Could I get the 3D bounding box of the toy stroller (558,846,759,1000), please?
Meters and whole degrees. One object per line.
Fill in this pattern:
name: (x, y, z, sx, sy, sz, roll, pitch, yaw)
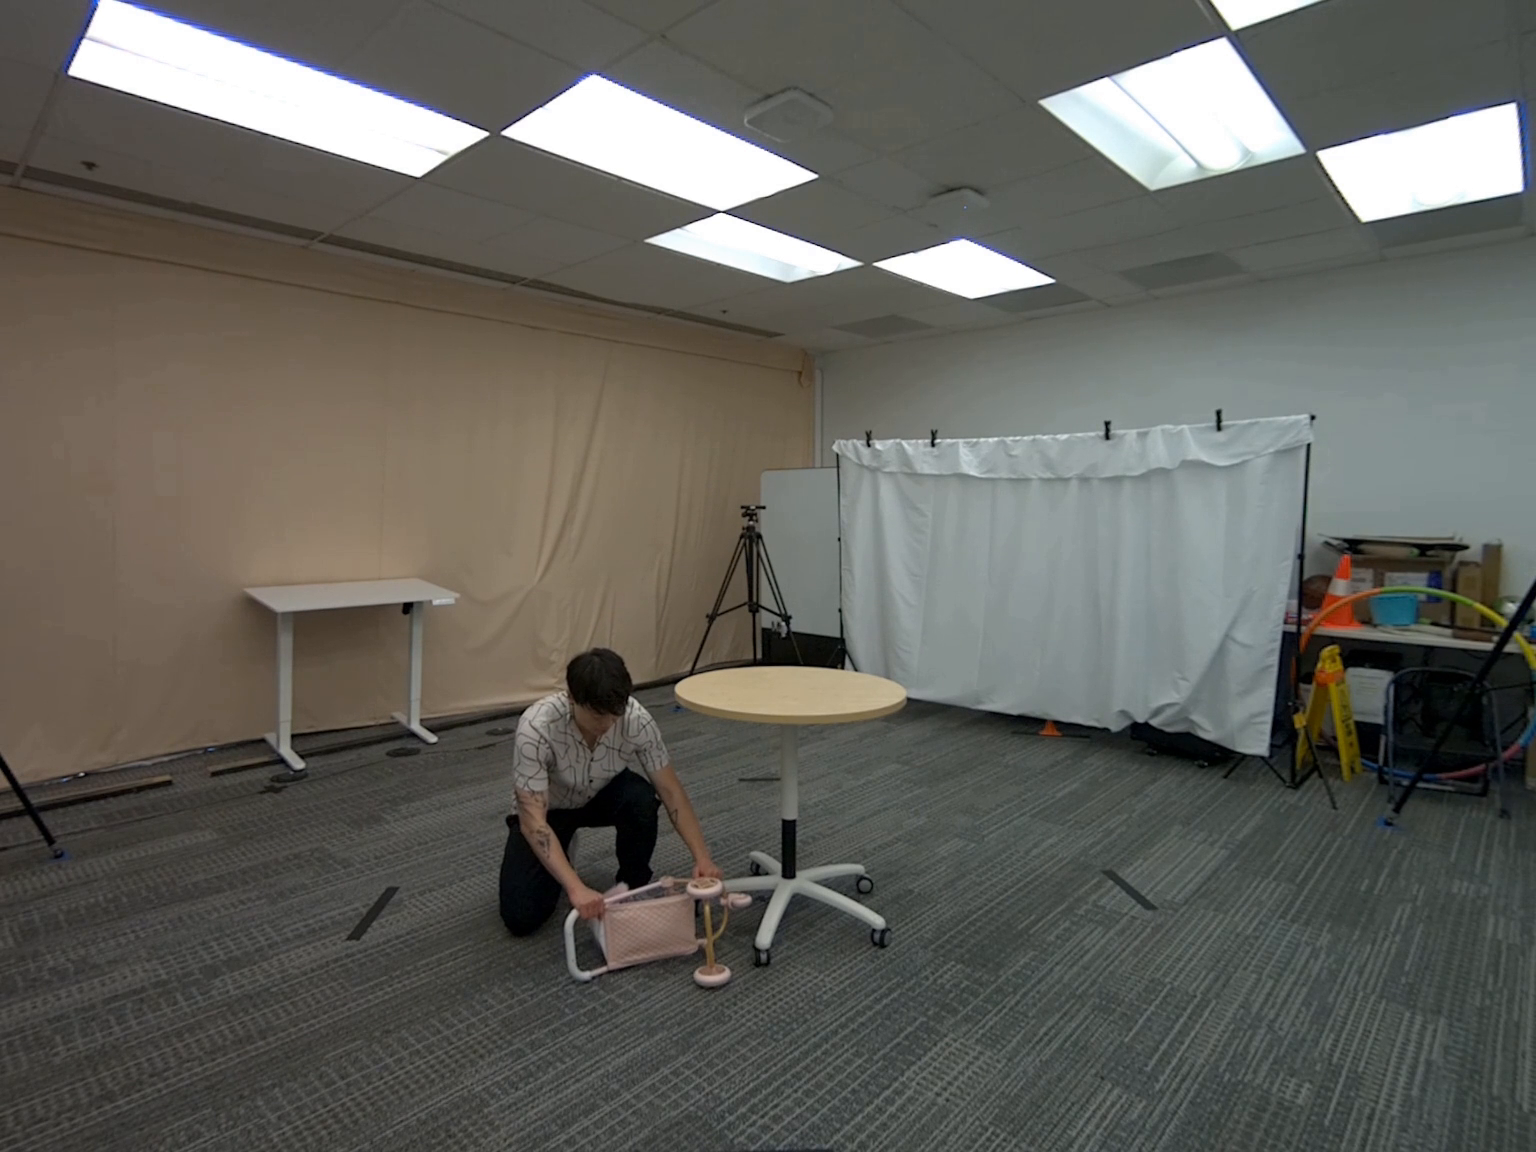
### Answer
toy stroller: (-0.320, 1.049, 2.597, 0.538, 0.281, 0.340, -6, 1, 5)
